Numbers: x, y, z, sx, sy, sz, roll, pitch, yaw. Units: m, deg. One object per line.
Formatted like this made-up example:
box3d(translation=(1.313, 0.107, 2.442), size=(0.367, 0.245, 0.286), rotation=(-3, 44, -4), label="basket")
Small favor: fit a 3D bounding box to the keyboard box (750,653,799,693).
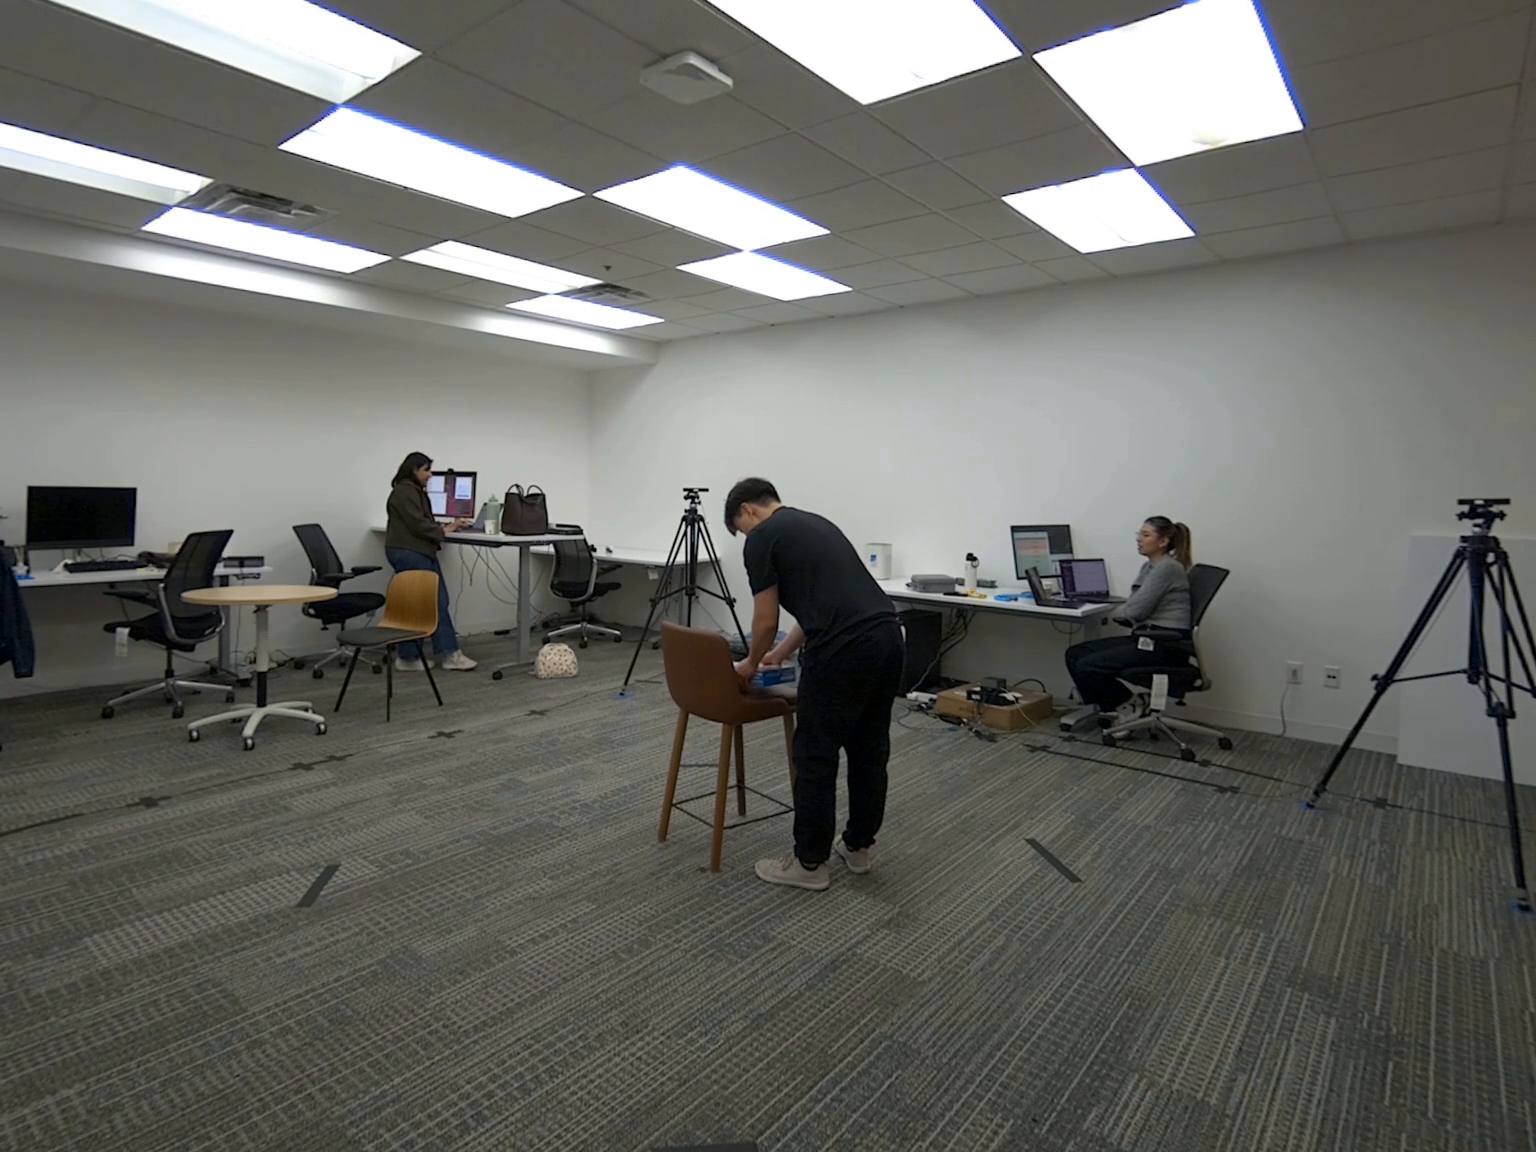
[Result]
box3d(translation=(-0.098, 0.383, 3.361), size=(0.171, 0.059, 0.449), rotation=(-3, 0, -39), label="keyboard box")
